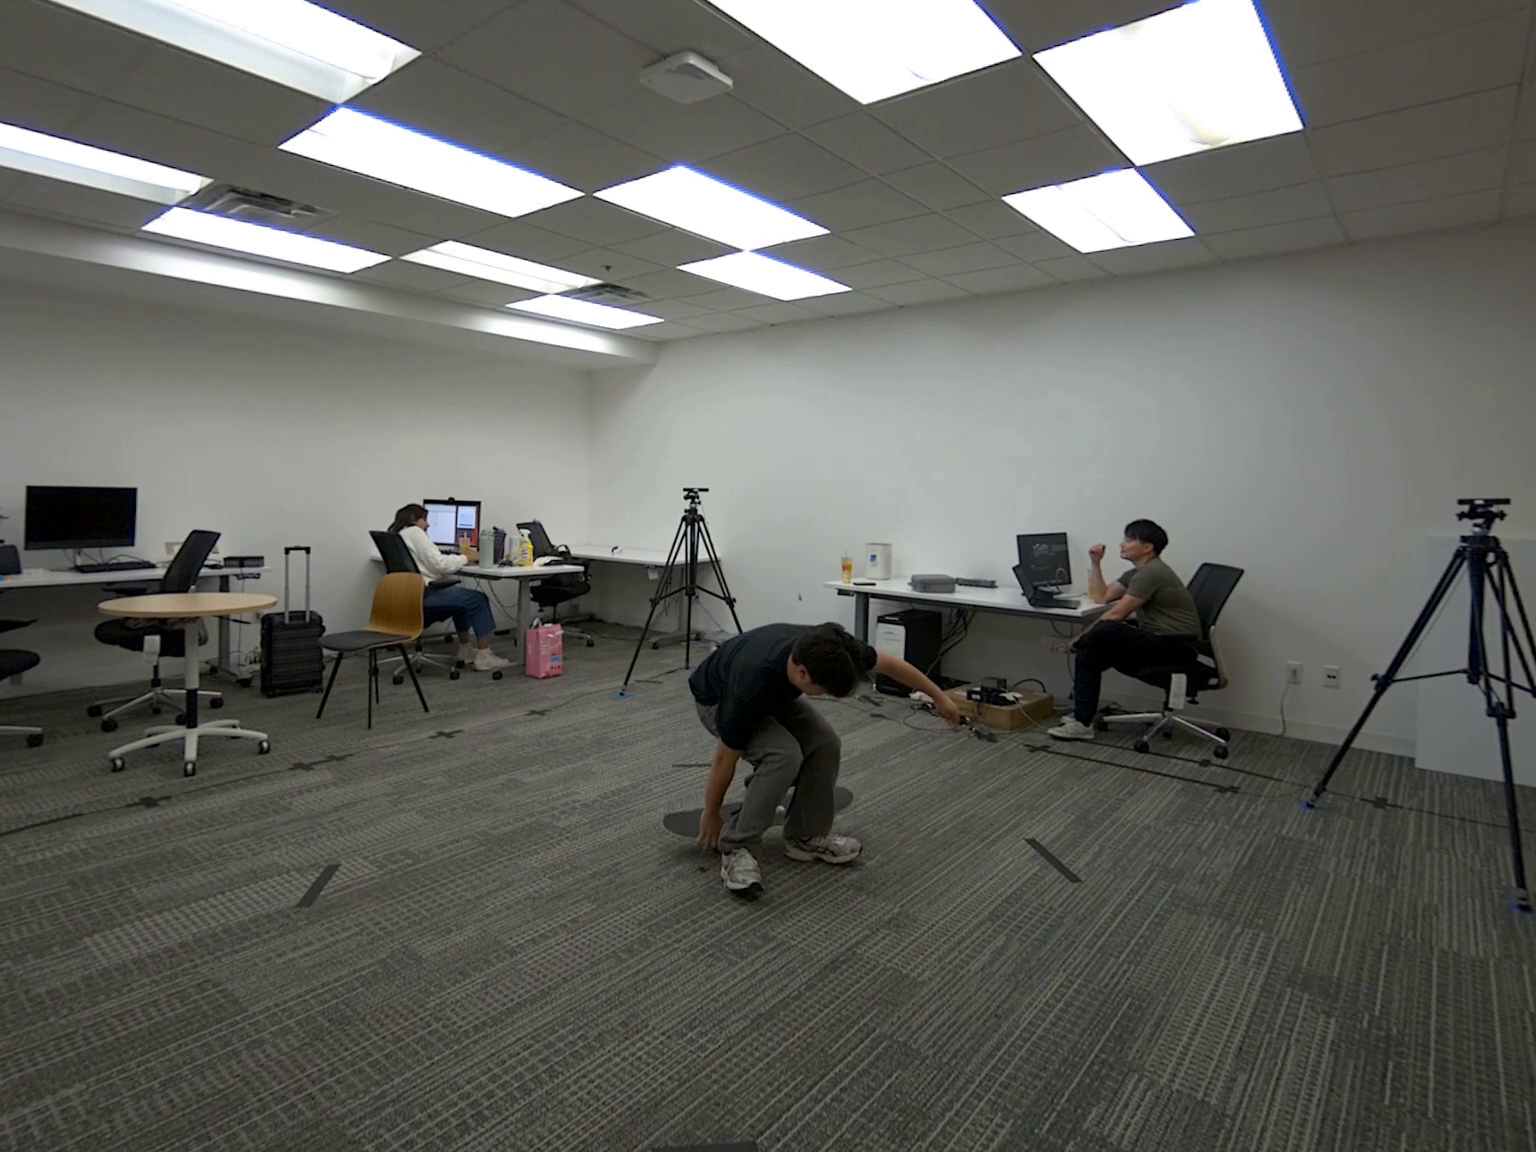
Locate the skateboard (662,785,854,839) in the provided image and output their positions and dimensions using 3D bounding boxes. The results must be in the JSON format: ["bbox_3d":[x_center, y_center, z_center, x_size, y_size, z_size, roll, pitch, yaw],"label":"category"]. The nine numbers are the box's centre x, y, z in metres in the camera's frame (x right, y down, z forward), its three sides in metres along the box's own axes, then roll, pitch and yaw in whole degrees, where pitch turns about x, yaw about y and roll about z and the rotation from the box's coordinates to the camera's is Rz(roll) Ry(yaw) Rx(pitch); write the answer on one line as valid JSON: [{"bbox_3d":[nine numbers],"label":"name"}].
[{"bbox_3d":[-0.036,0.948,3.341,0.773,0.109,0.199,-5,14,-16],"label":"skateboard"}]
